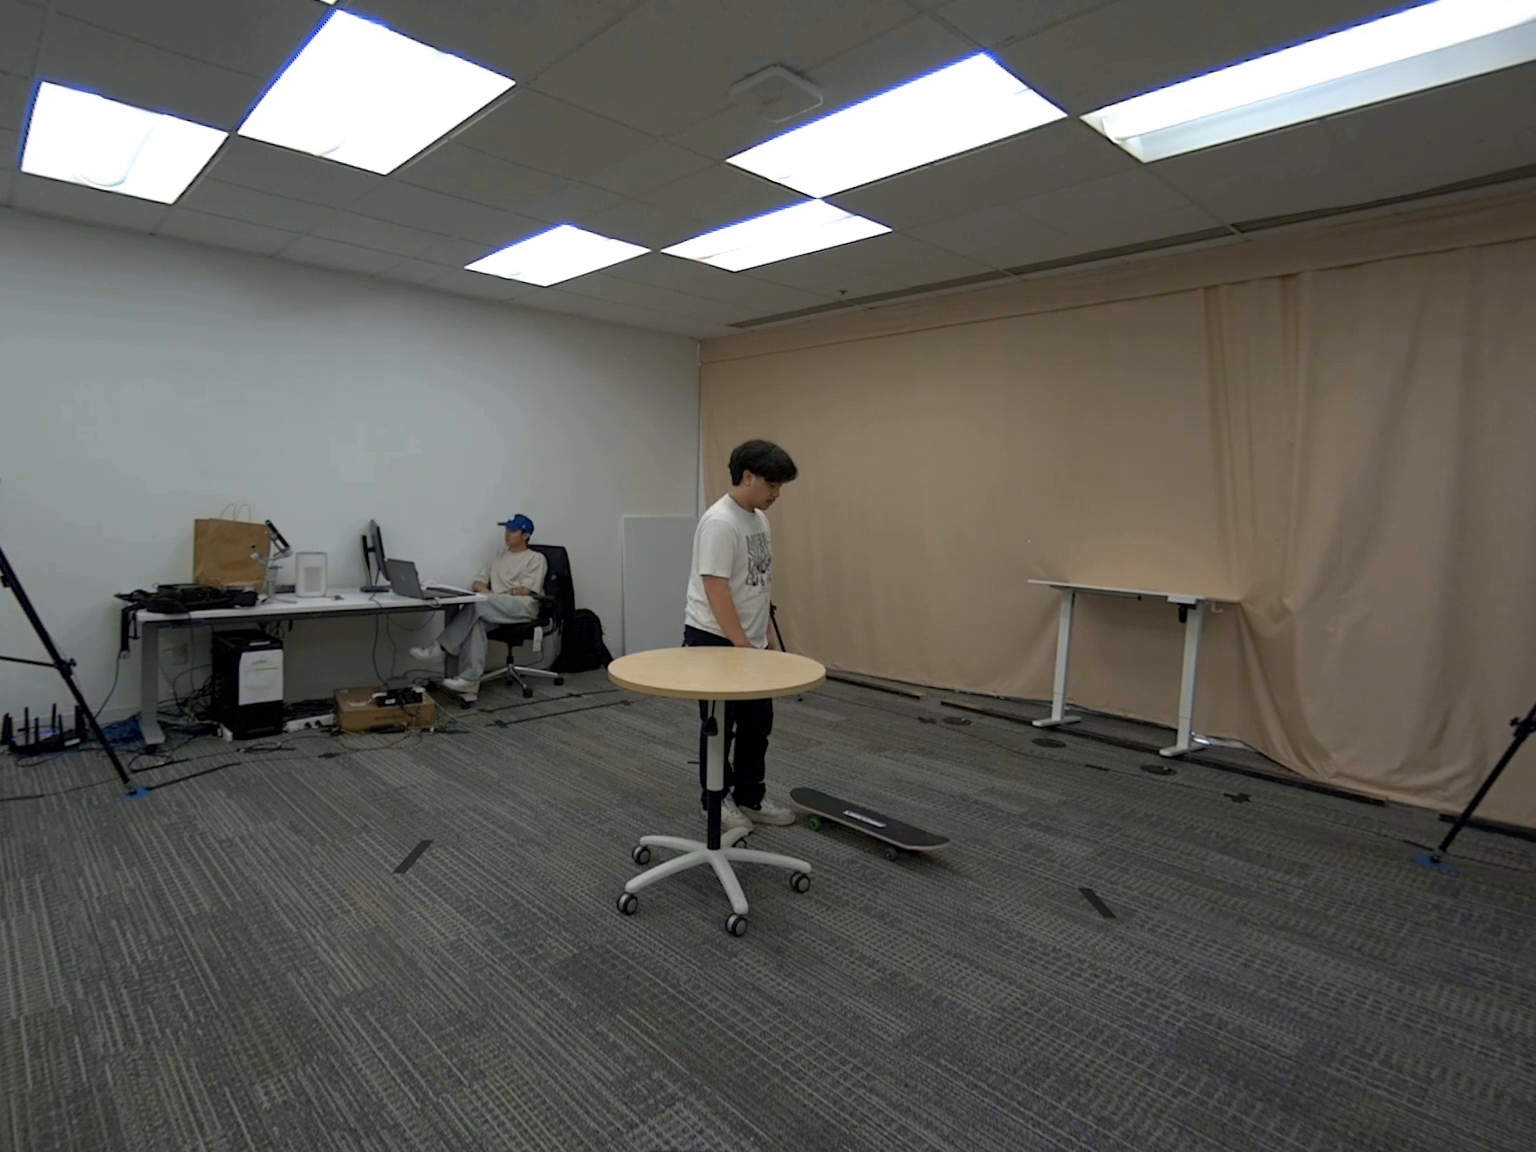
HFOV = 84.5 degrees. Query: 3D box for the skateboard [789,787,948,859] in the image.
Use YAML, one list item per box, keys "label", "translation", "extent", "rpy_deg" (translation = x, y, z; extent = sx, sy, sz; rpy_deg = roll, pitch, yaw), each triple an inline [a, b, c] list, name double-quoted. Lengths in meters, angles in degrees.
- label: "skateboard"
  translation: [0.386, 1.038, 3.487]
  extent: [0.189, 0.110, 0.806]
  rpy_deg: [-2, 6, -43]
